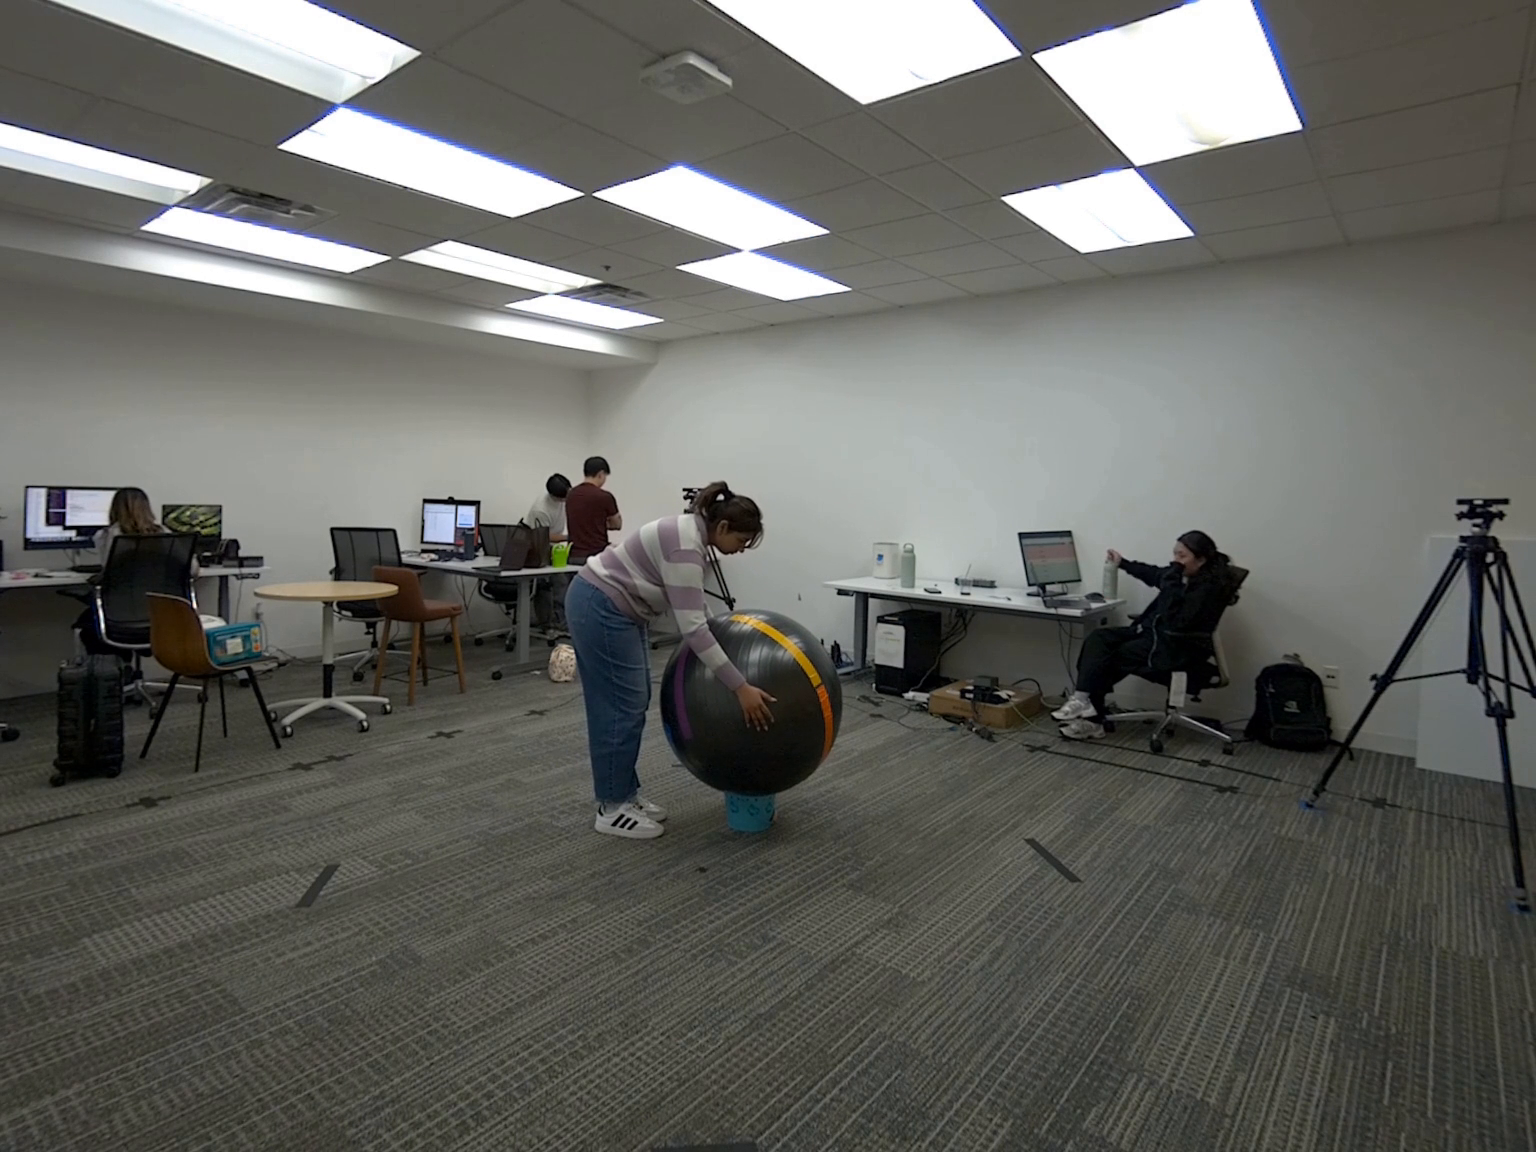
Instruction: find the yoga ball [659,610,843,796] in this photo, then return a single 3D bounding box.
[{"bbox_3d":[-0.079,0.518,3.531,0.757,0.756,0.761,1,4,-2],"label":"yoga ball"}]
